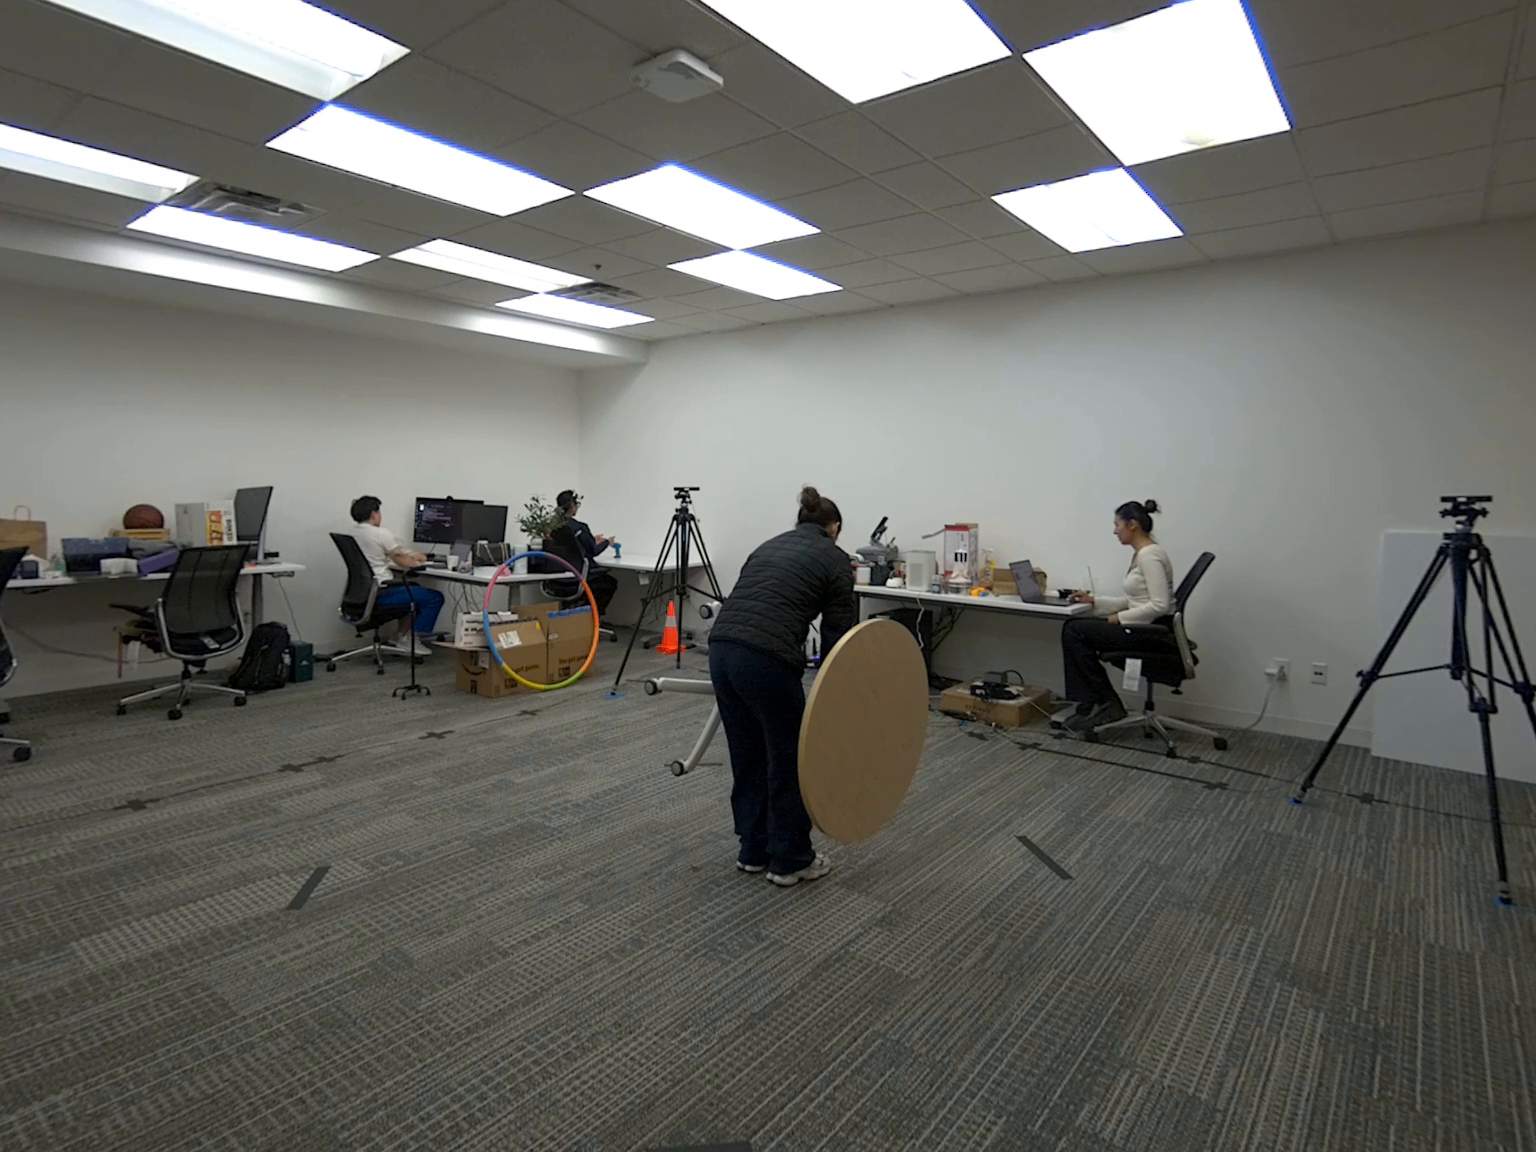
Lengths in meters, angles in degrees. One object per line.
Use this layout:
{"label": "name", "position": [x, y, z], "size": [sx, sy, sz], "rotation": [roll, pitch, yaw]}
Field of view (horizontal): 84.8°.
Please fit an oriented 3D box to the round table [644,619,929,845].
{"label": "round table", "position": [0.067, 0.498, 3.209], "size": [0.814, 0.782, 0.762], "rotation": [6, 7, 41]}
